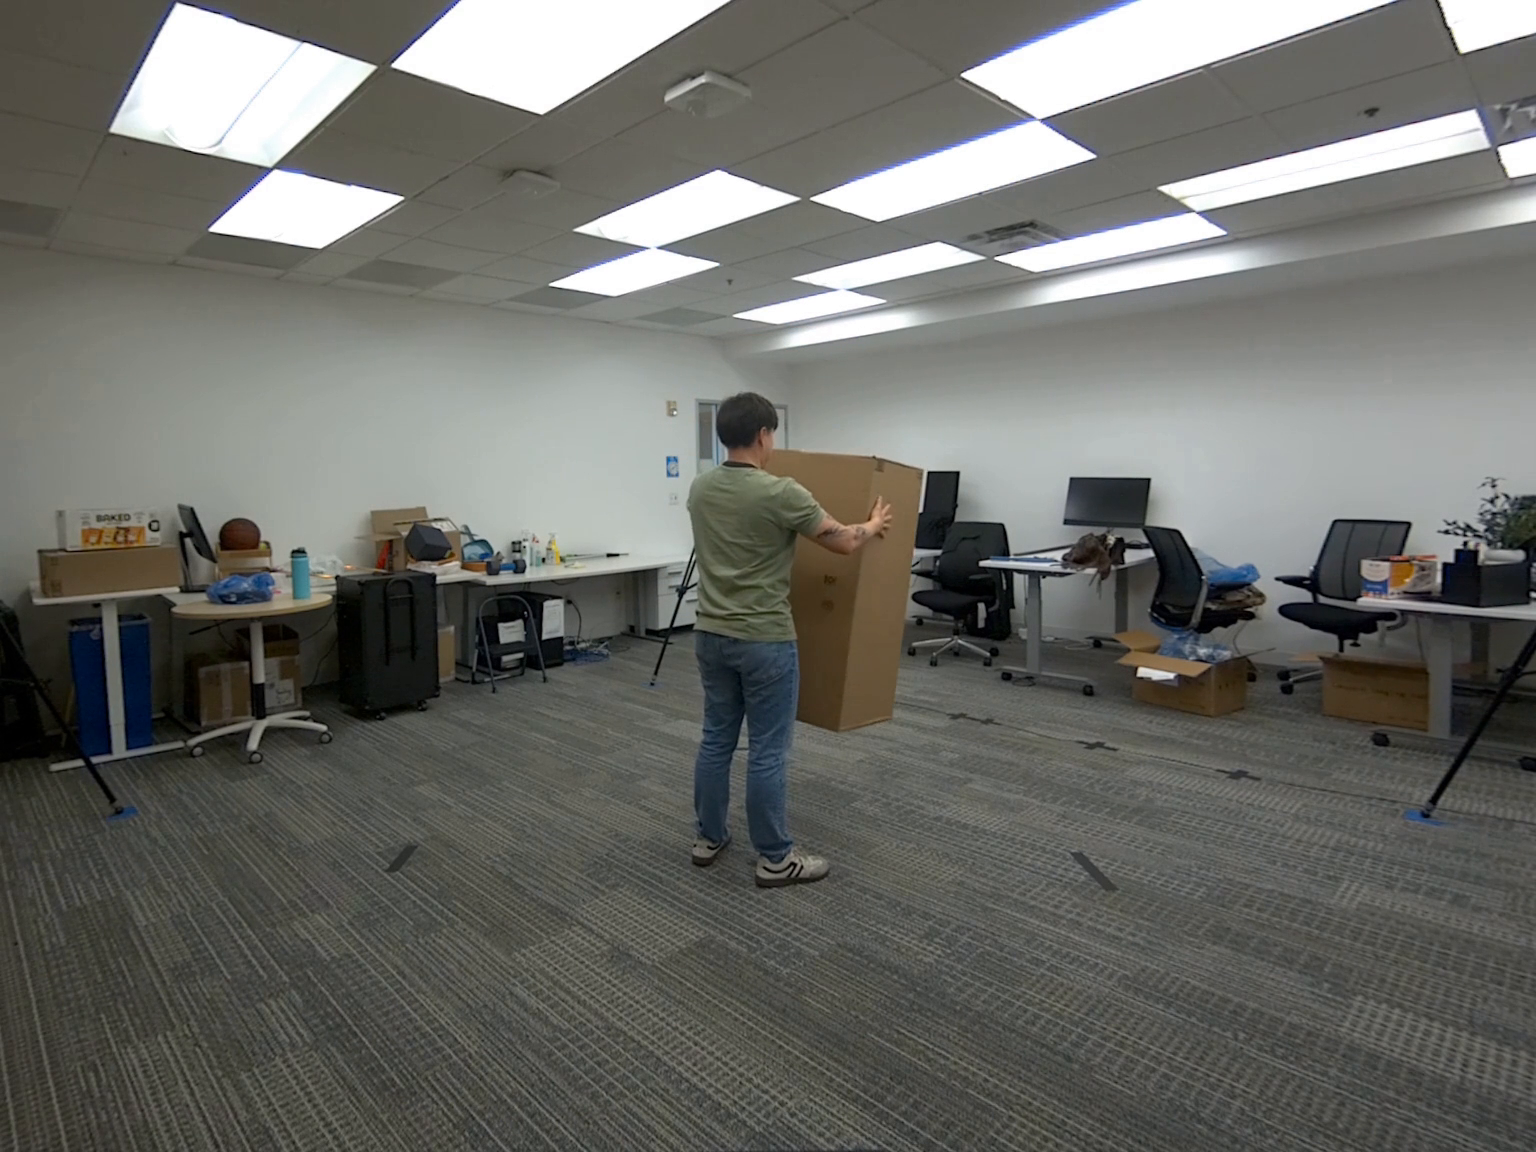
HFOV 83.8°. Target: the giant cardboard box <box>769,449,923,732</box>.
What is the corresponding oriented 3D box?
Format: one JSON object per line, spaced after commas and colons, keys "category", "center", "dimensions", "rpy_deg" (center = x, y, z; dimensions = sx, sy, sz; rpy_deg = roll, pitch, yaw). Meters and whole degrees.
{"category": "giant cardboard box", "center": [0.219, 0.038, 3.459], "dimensions": [0.596, 1.024, 0.413], "rpy_deg": [9, 2, 37]}
